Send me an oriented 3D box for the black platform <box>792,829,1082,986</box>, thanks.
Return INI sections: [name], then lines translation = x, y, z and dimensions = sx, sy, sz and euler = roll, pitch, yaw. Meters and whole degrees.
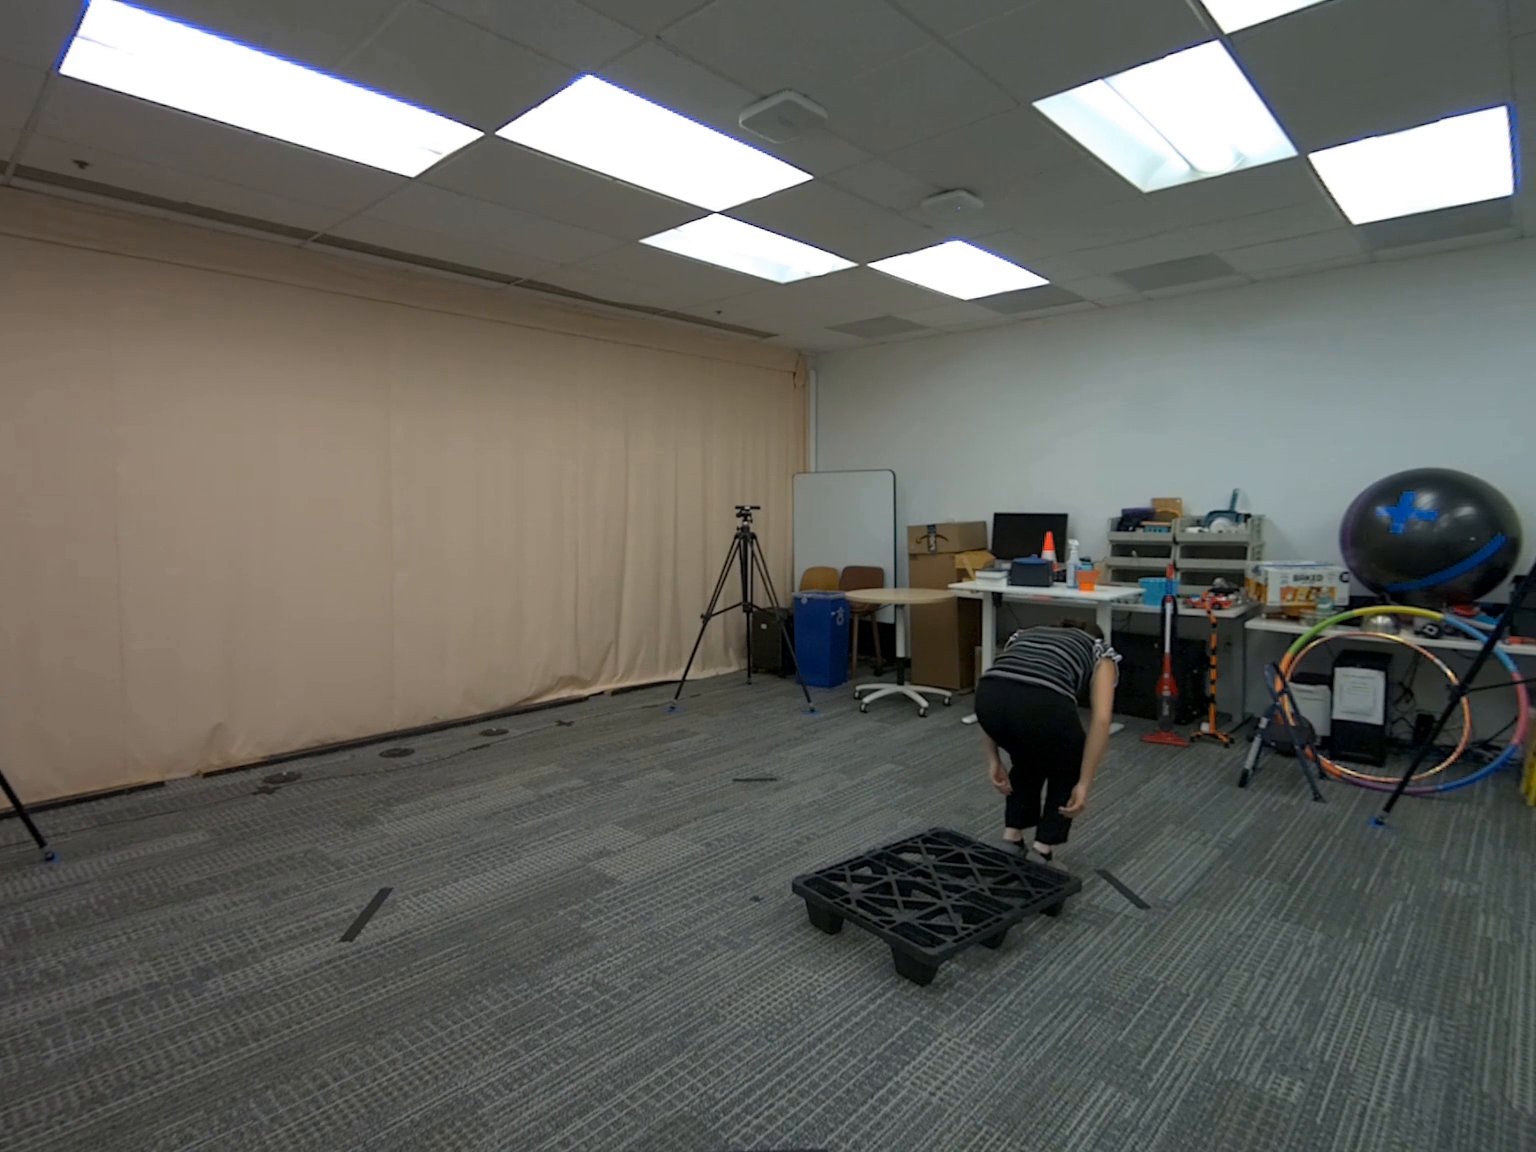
[black platform]
translation = 0.578, 1.088, 2.829
dimensions = 0.781, 0.143, 0.625
euler = -4, 7, -39
